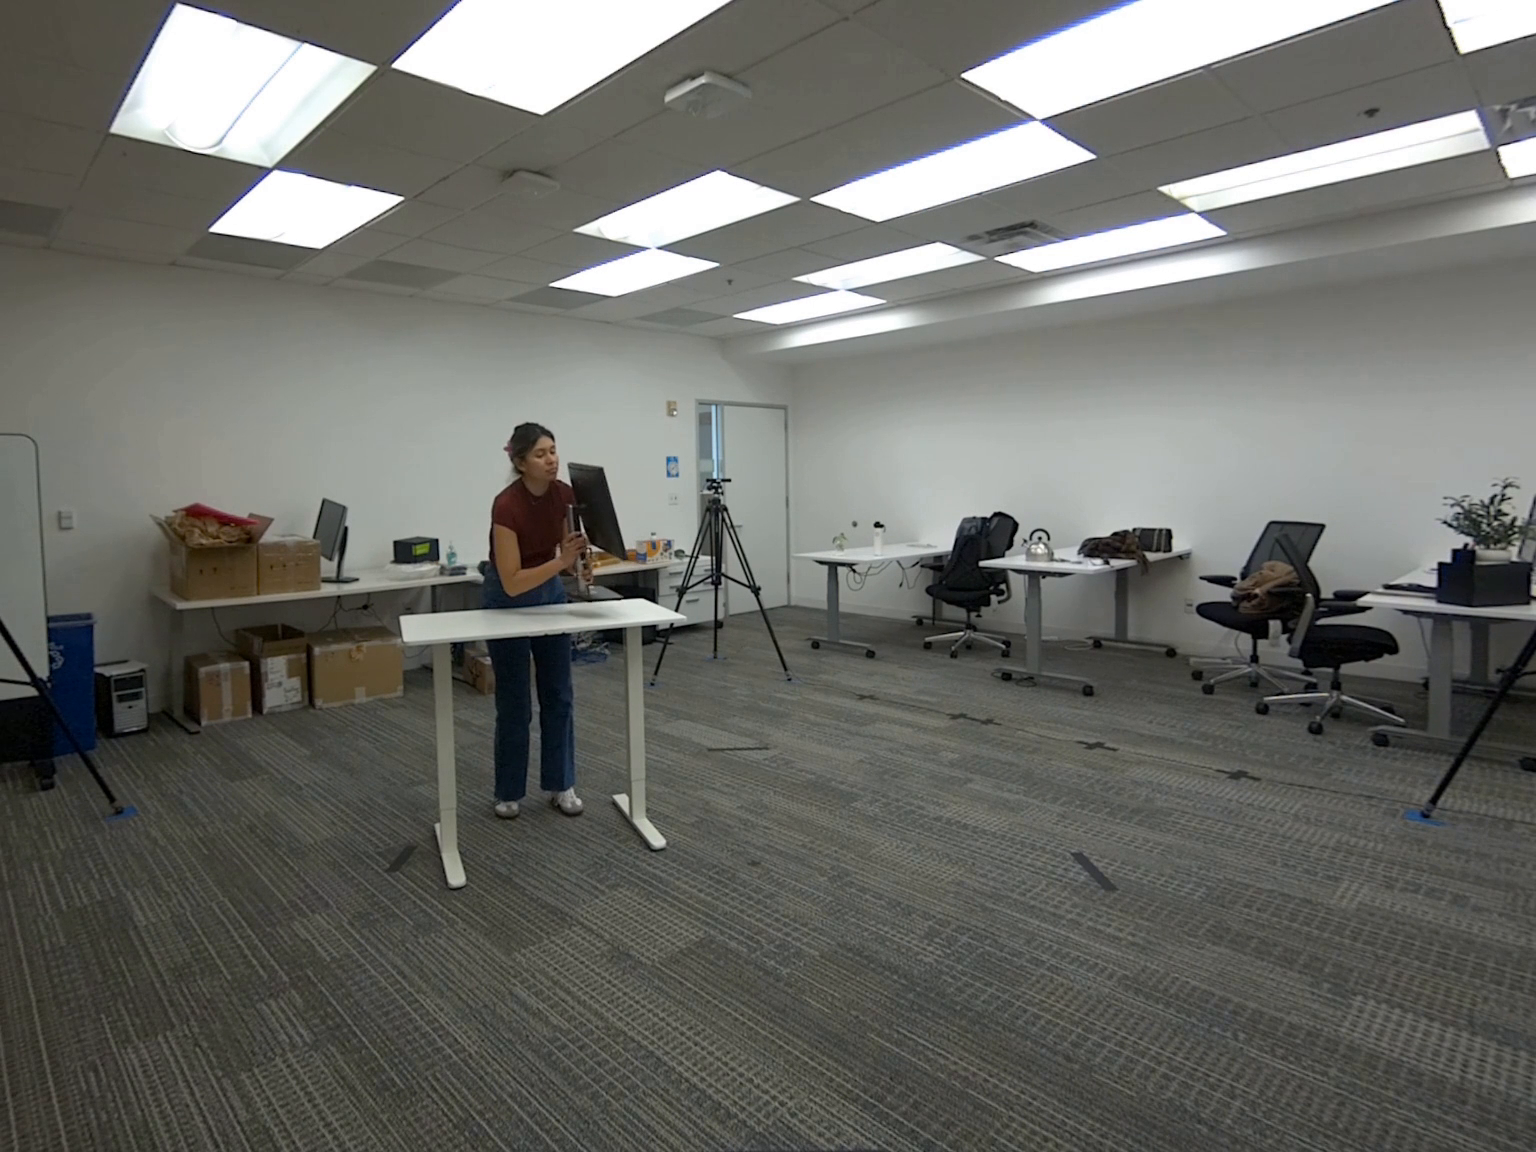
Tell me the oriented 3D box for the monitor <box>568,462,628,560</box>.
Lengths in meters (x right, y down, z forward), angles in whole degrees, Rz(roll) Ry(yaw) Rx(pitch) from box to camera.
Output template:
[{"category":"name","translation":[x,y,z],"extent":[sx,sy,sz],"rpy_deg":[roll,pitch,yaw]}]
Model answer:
[{"category":"monitor","translation":[-0.696,-0.171,3.317],"extent":[0.183,0.519,0.554],"rpy_deg":[-5,9,-26]}]
